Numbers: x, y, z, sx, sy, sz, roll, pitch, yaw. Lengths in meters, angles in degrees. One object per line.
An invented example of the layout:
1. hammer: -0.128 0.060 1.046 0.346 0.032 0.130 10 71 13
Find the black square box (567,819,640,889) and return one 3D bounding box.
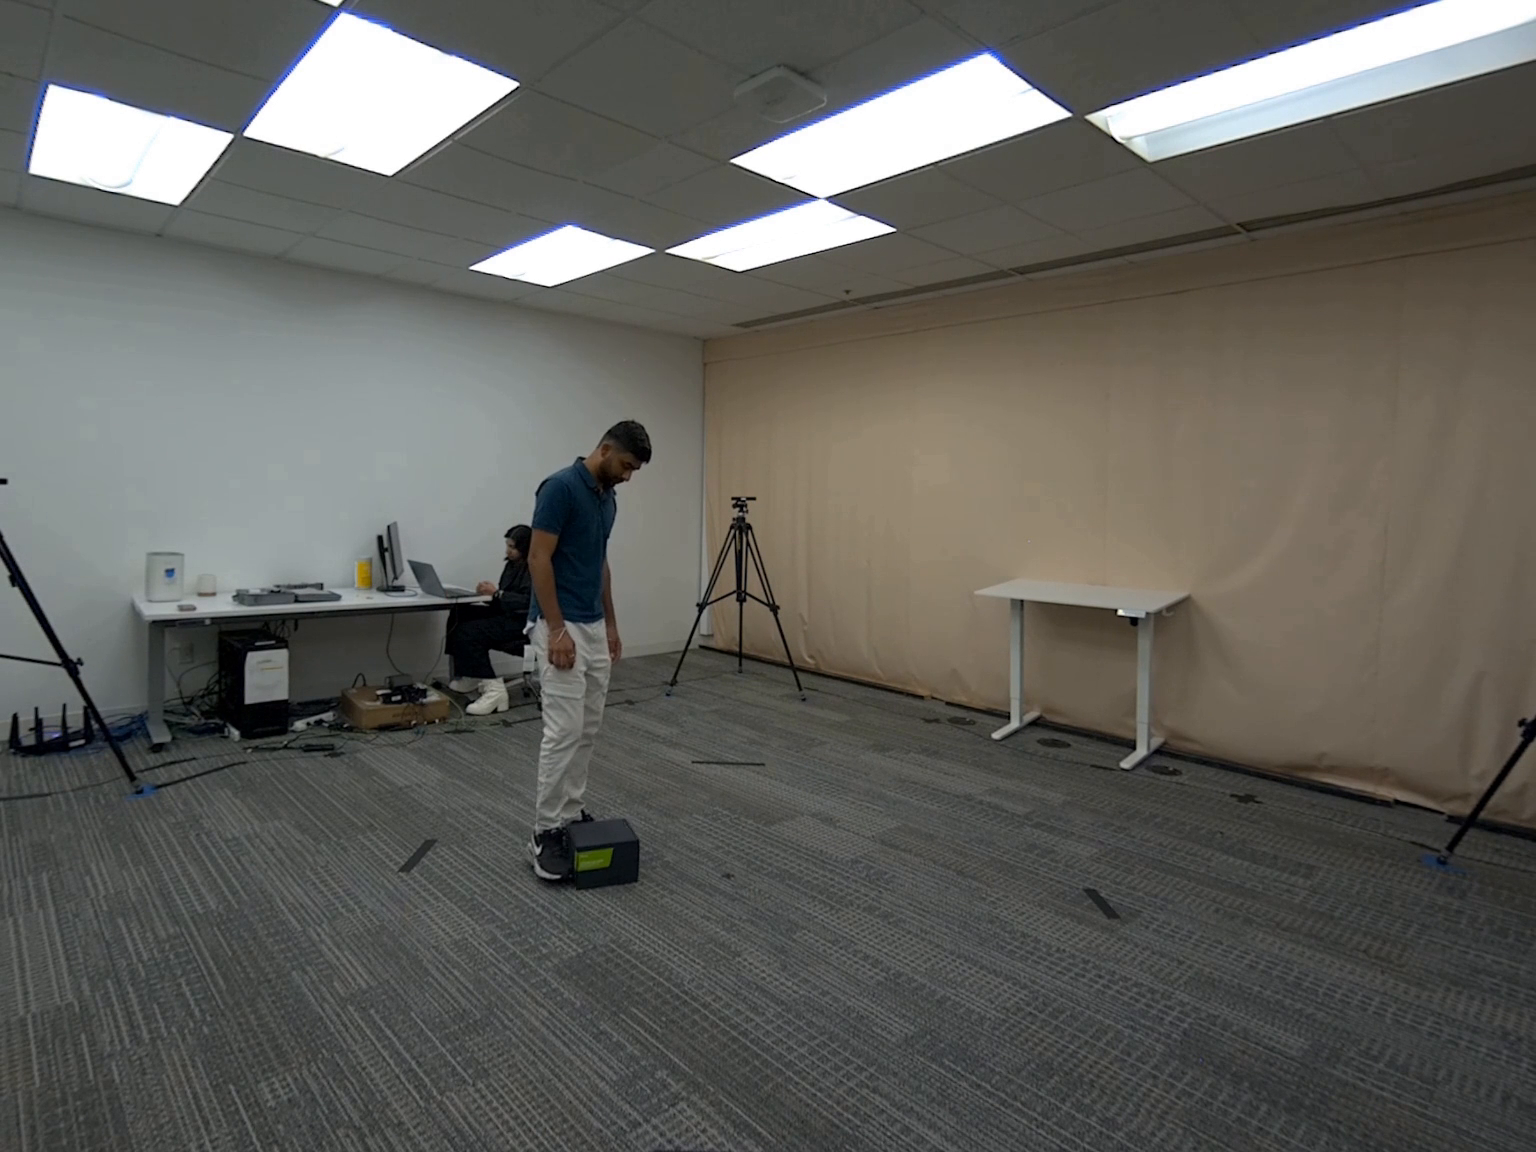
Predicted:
1. black square box: -0.606 1.016 3.089 0.224 0.155 0.221 0 5 -23
